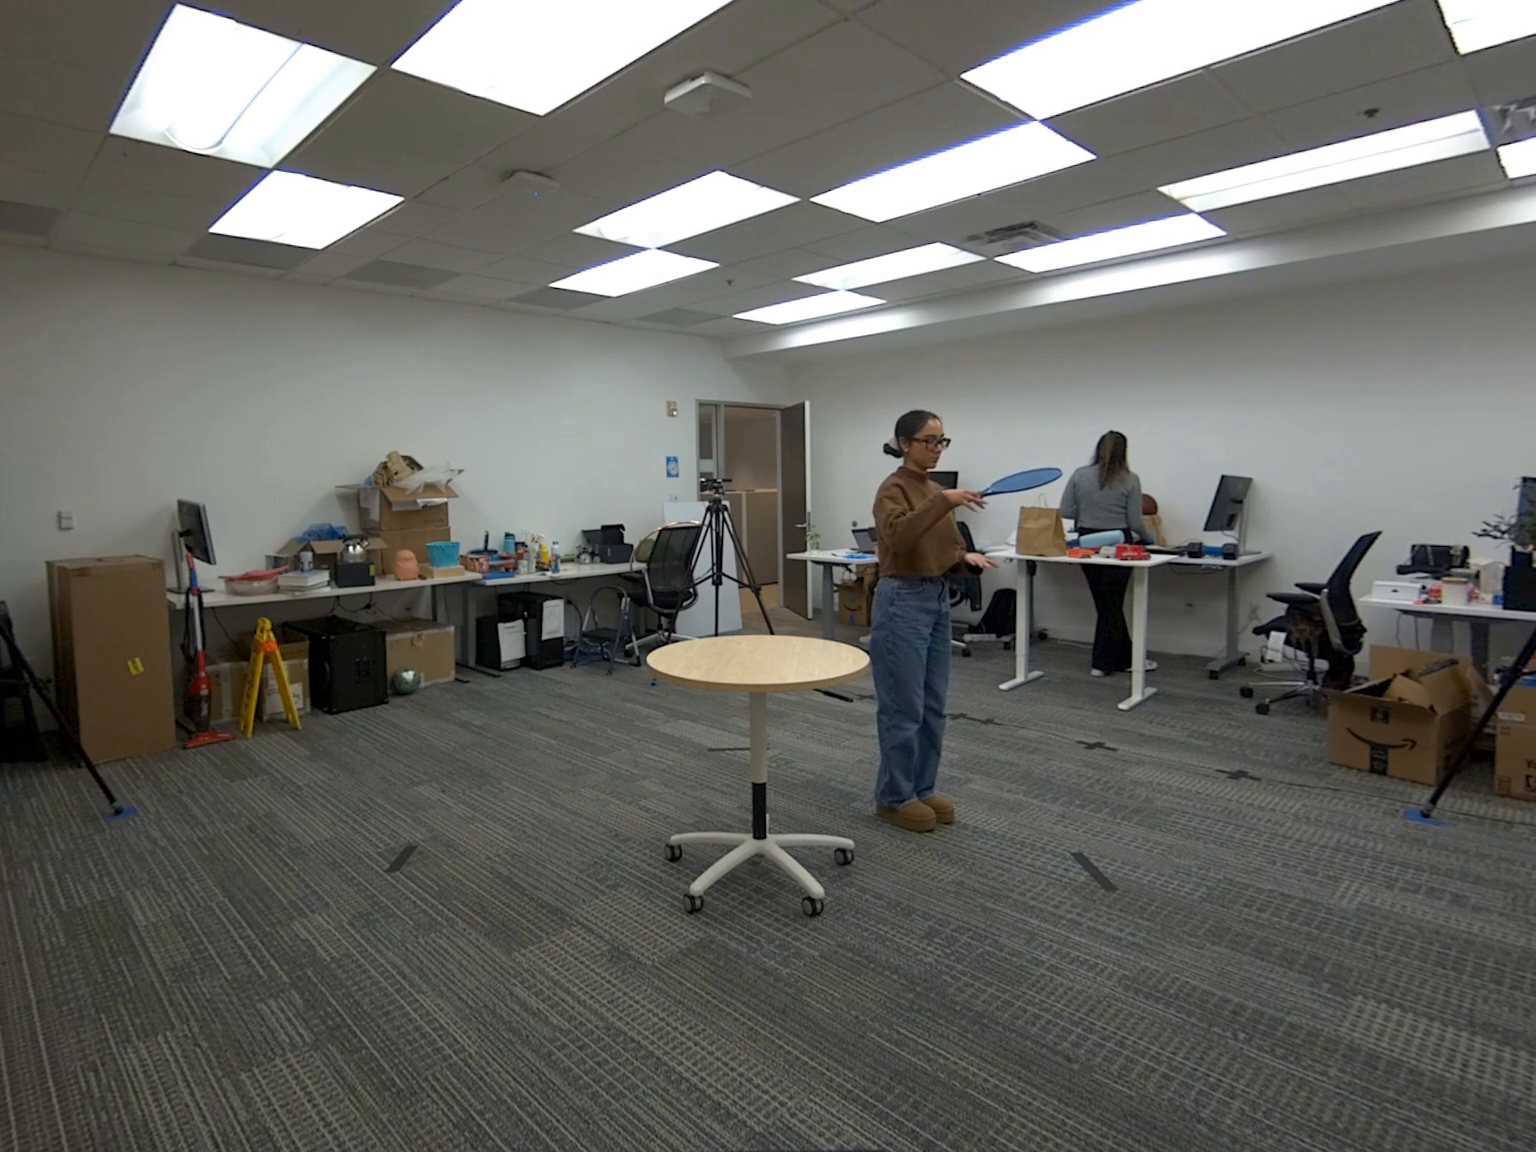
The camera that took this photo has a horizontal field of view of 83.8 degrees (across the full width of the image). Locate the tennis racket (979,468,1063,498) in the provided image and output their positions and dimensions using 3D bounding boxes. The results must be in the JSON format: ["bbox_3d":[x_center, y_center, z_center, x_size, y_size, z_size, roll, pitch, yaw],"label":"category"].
[{"bbox_3d":[0.864,-0.327,3.146,0.433,0.031,0.218,-19,18,-1],"label":"tennis racket"}]
